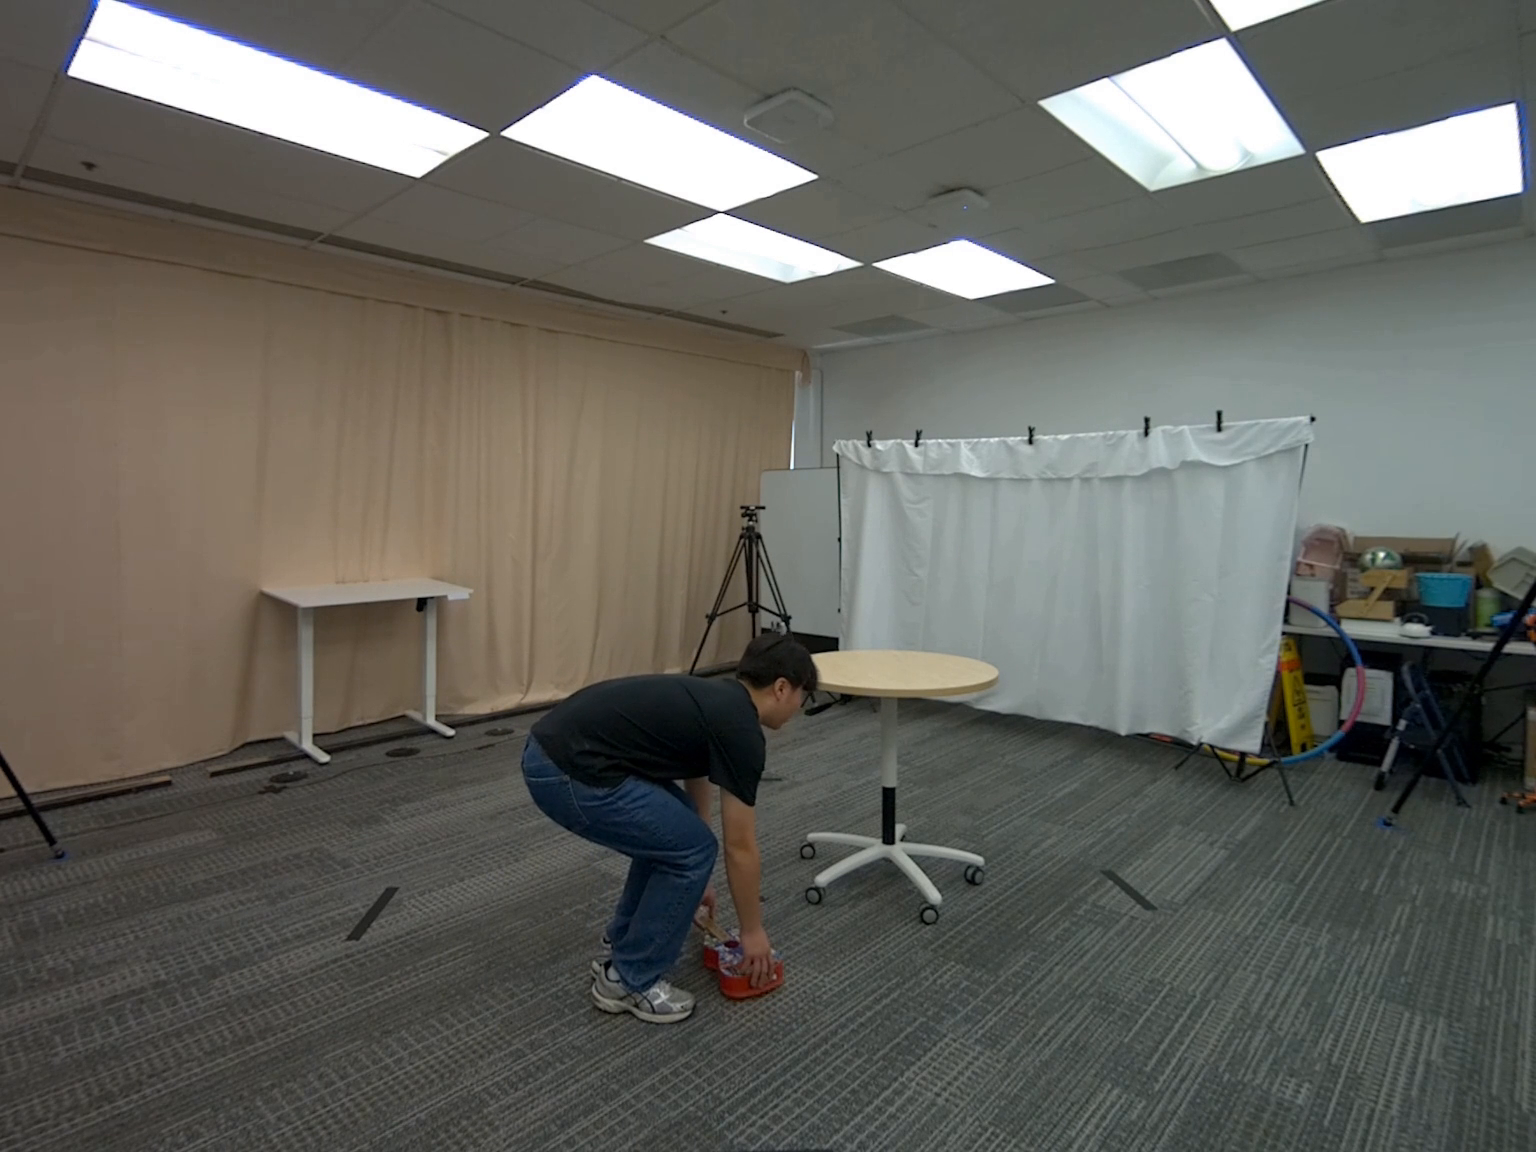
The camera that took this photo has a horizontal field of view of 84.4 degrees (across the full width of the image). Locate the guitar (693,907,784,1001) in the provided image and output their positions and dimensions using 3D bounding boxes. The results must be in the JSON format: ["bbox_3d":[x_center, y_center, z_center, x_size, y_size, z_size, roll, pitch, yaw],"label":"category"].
[{"bbox_3d":[-0.120,1.119,2.601,0.189,0.070,0.510,-3,7,-23],"label":"guitar"}]
